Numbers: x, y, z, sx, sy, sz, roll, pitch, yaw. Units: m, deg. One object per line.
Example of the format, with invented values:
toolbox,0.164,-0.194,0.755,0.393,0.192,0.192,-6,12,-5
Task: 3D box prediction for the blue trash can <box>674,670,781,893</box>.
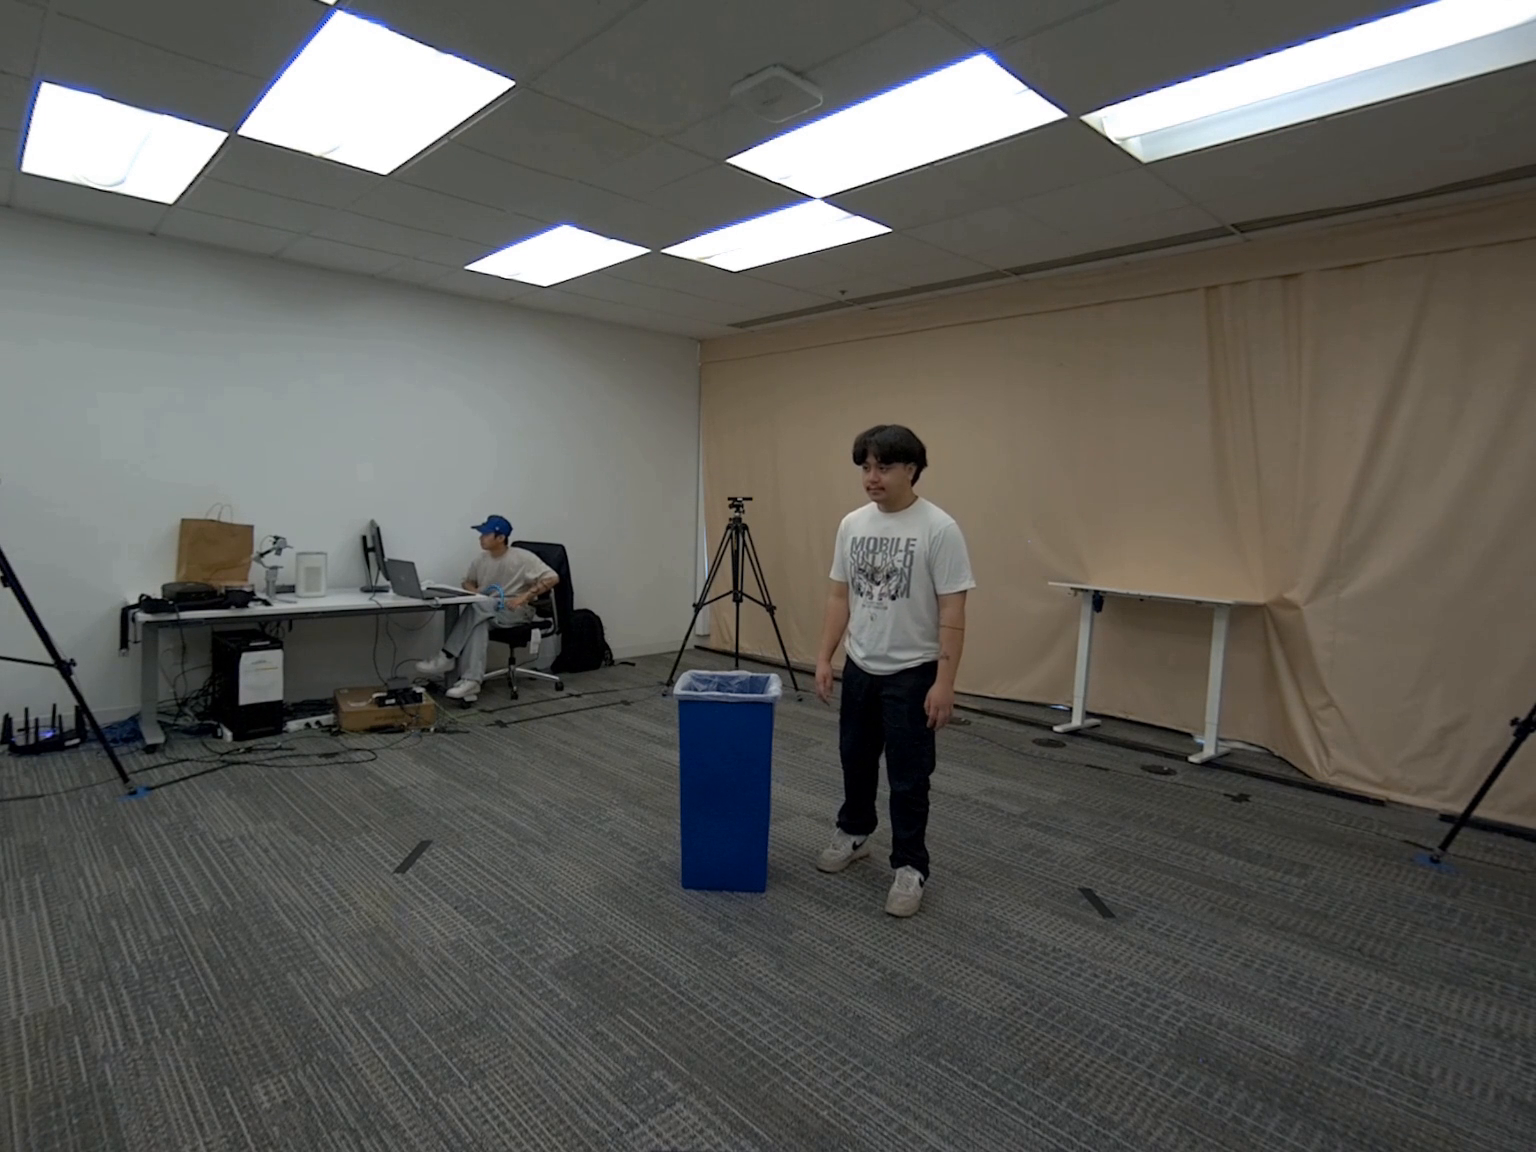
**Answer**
blue trash can,-0.155,0.747,3.113,0.375,0.712,0.378,2,3,2
